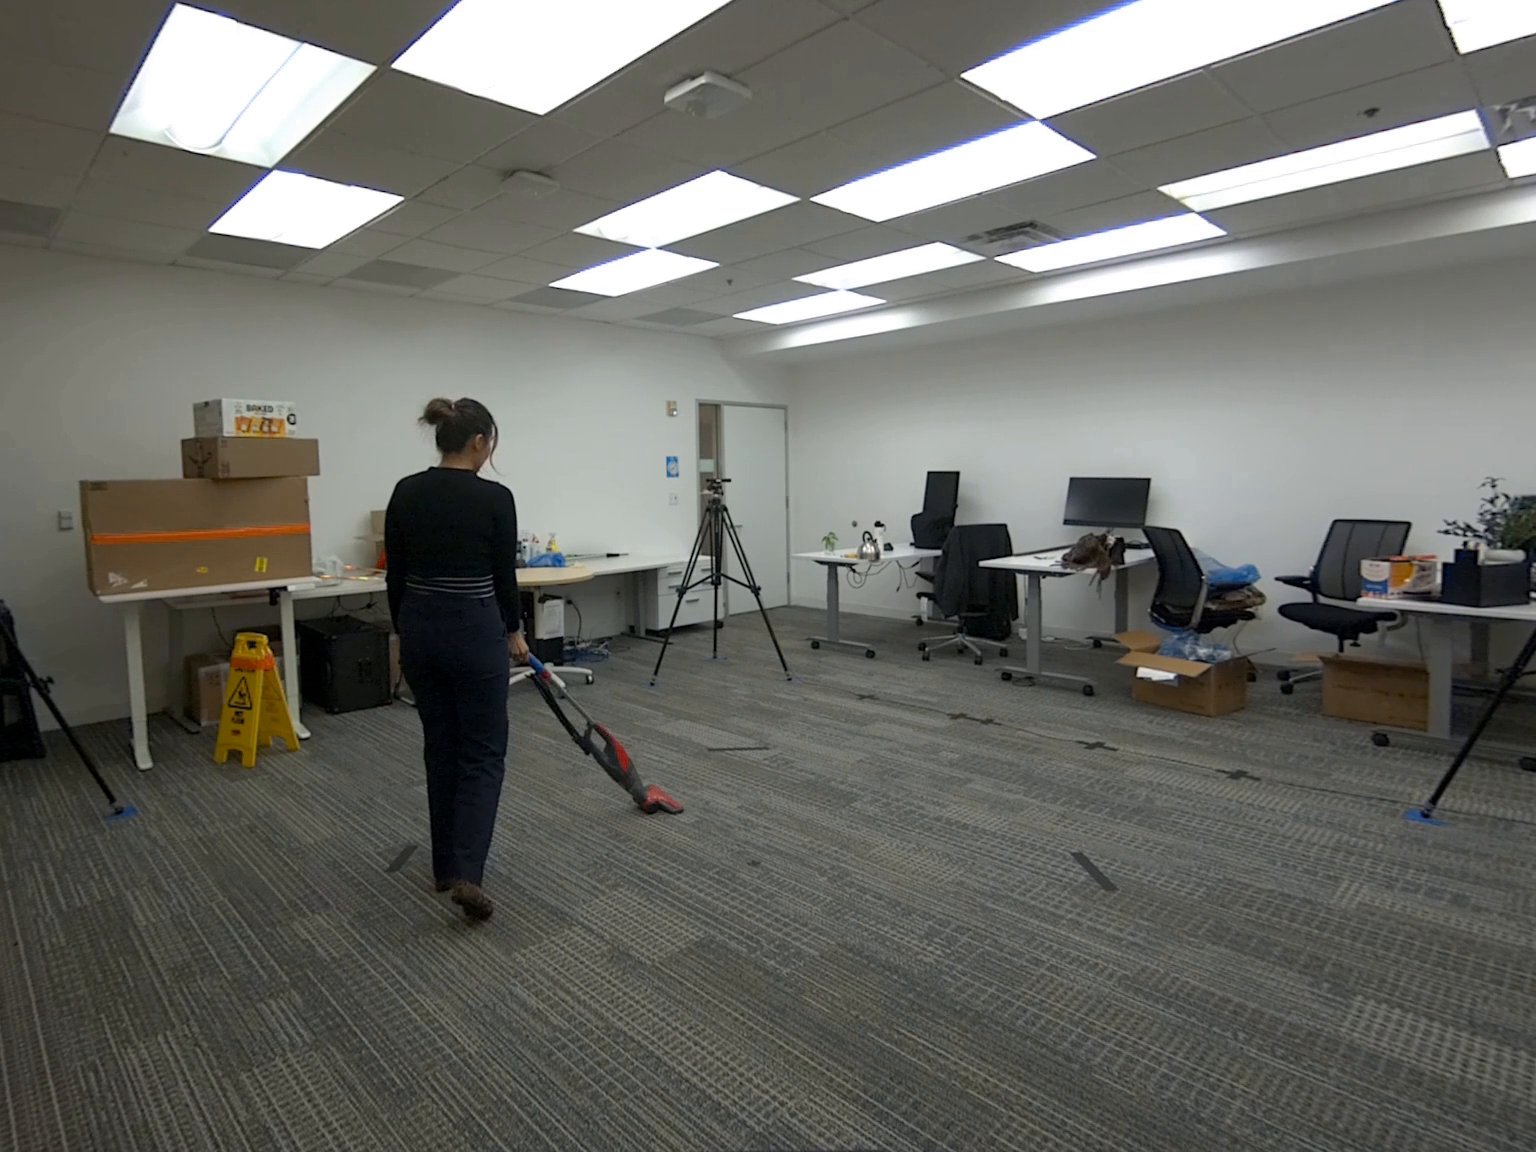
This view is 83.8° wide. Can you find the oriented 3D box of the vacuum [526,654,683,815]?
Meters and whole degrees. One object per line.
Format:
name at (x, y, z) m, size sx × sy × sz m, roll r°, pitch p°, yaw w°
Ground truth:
vacuum at (-0.715, 0.624, 3.399) m, size 0.261 × 1.014 × 0.144 m, roll 10°, pitch 53°, yaw 49°
